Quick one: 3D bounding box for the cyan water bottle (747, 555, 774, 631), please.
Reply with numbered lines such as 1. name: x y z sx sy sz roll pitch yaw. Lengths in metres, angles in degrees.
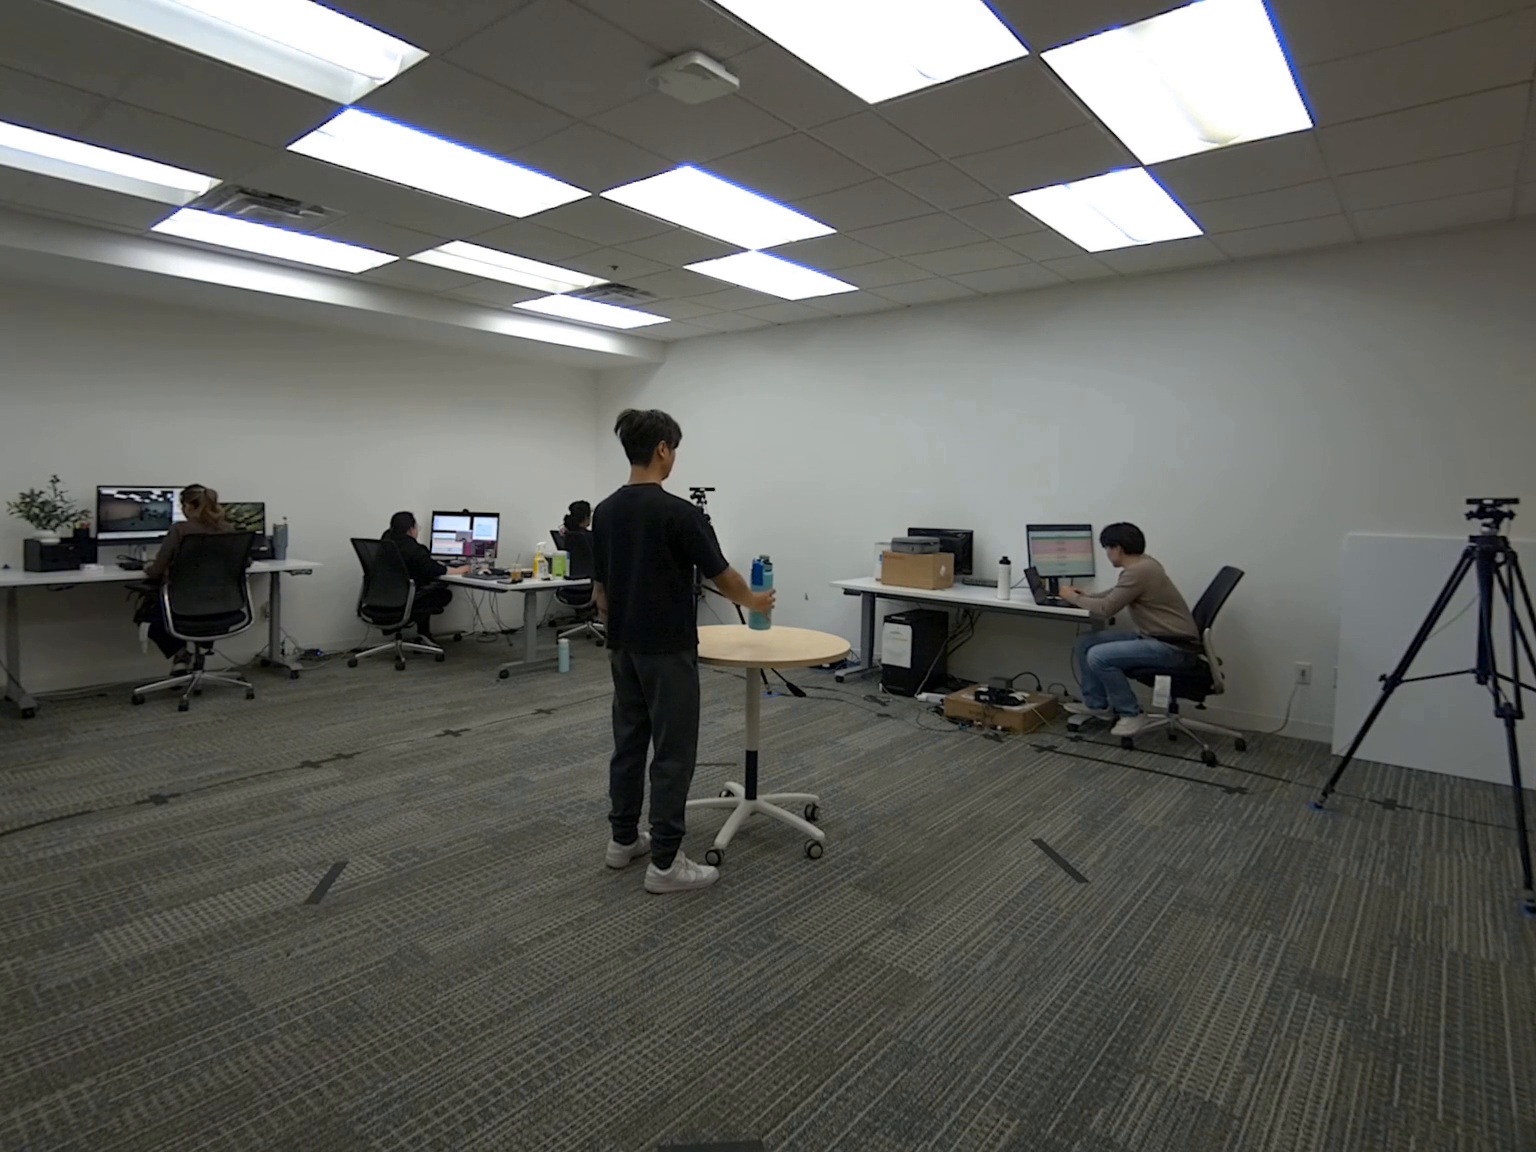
1. cyan water bottle: -0.039 0.062 3.277 0.092 0.281 0.093 1 7 -2
